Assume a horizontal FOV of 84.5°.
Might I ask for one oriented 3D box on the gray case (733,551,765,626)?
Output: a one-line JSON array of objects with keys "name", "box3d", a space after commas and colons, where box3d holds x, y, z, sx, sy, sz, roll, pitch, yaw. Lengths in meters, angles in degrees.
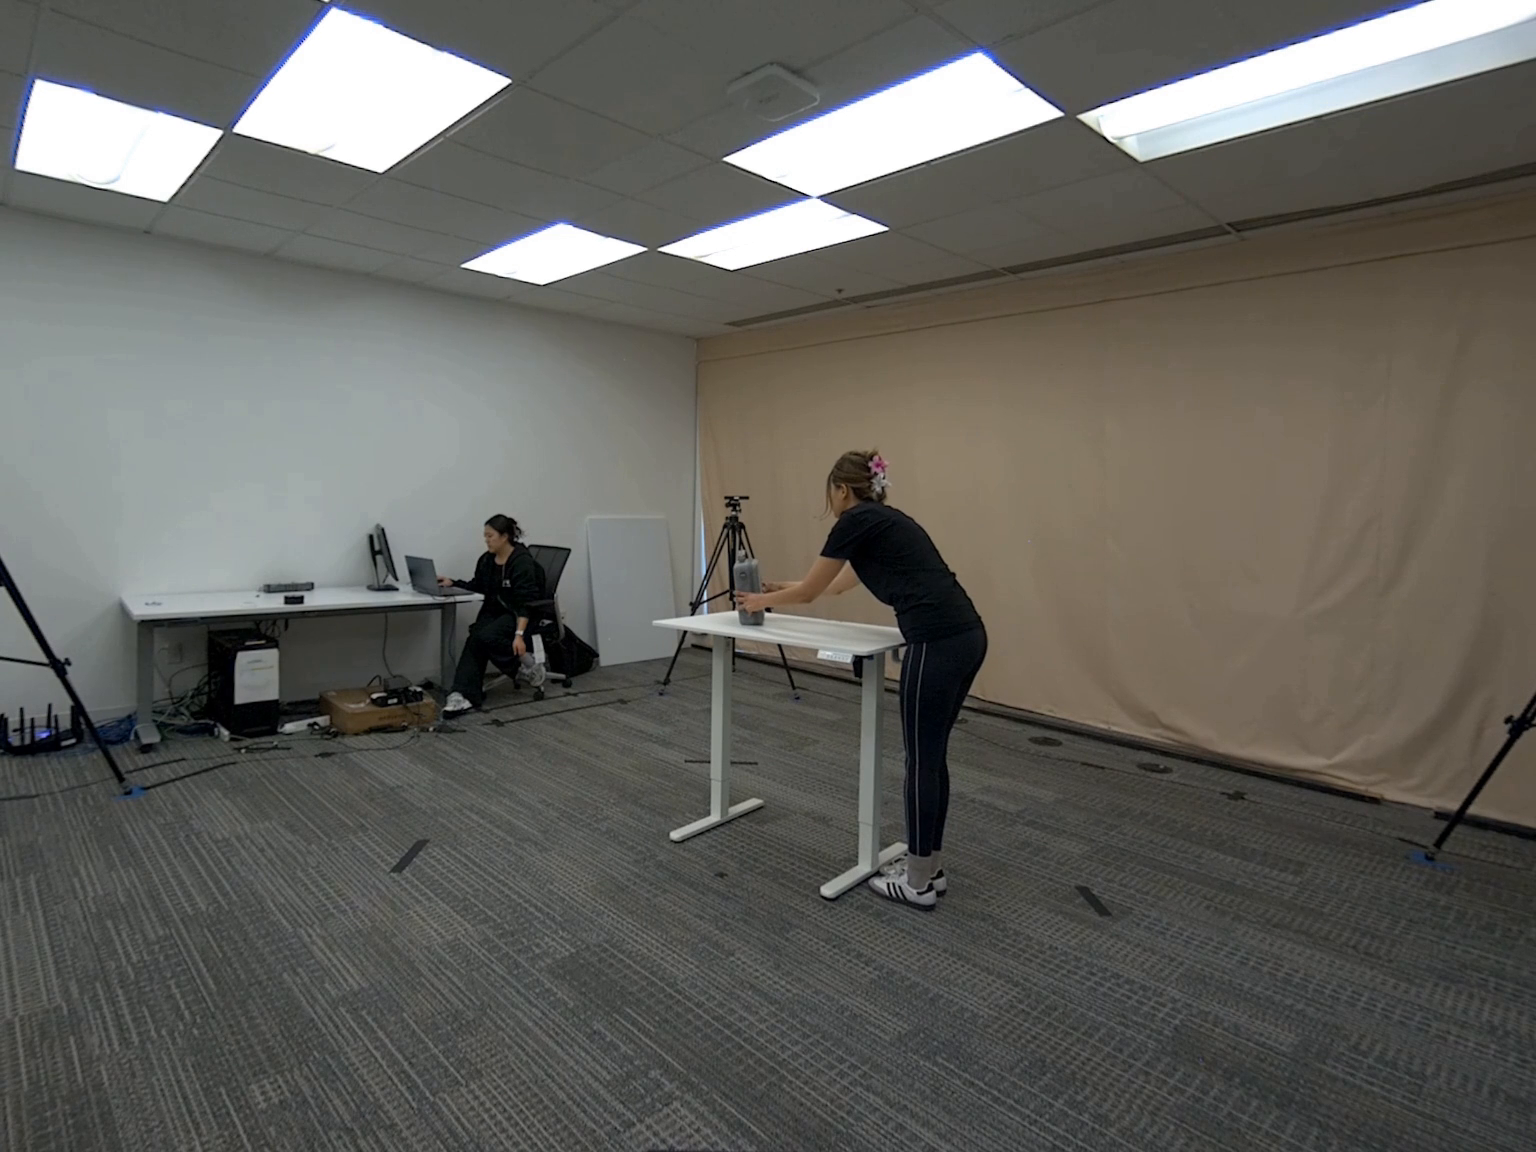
[{"name": "gray case", "box3d": [-0.094, 0.058, 3.478, 0.104, 0.260, 0.257, -4, 3, -1]}]
